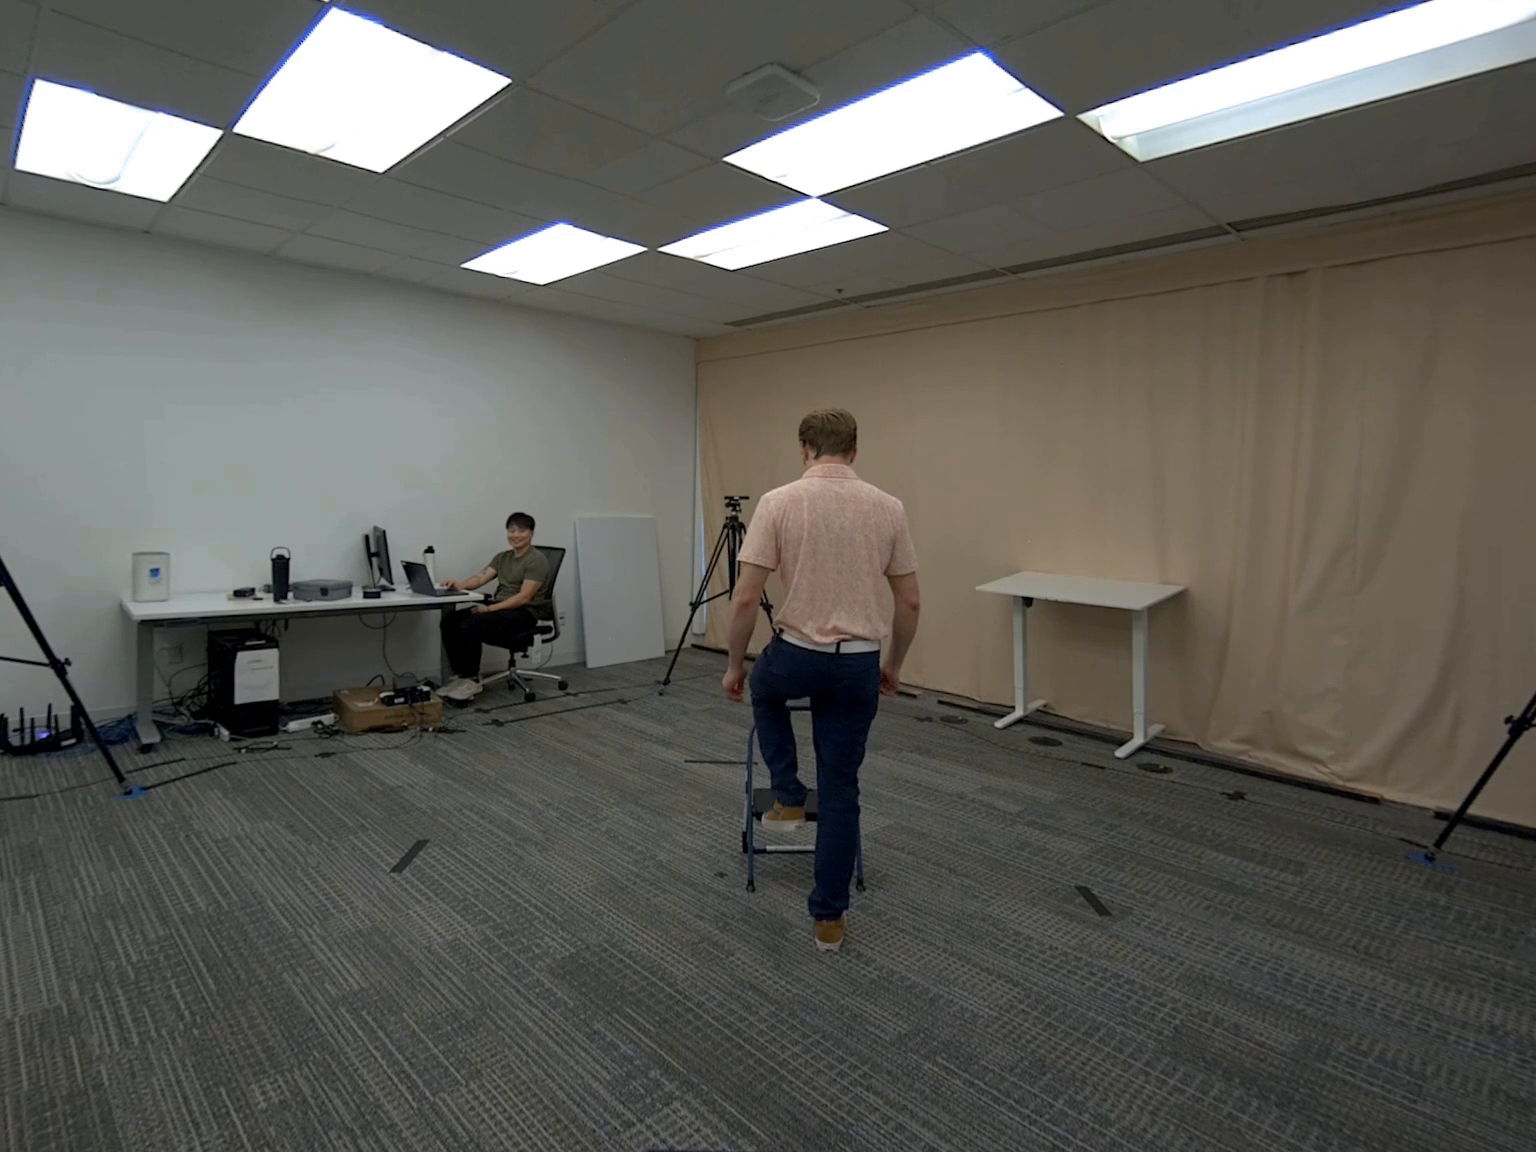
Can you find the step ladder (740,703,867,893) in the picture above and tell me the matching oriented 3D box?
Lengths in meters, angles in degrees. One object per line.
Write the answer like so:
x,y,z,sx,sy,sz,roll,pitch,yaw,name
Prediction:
0.126,0.809,3.144,0.429,0.605,0.351,2,3,-5,step ladder
